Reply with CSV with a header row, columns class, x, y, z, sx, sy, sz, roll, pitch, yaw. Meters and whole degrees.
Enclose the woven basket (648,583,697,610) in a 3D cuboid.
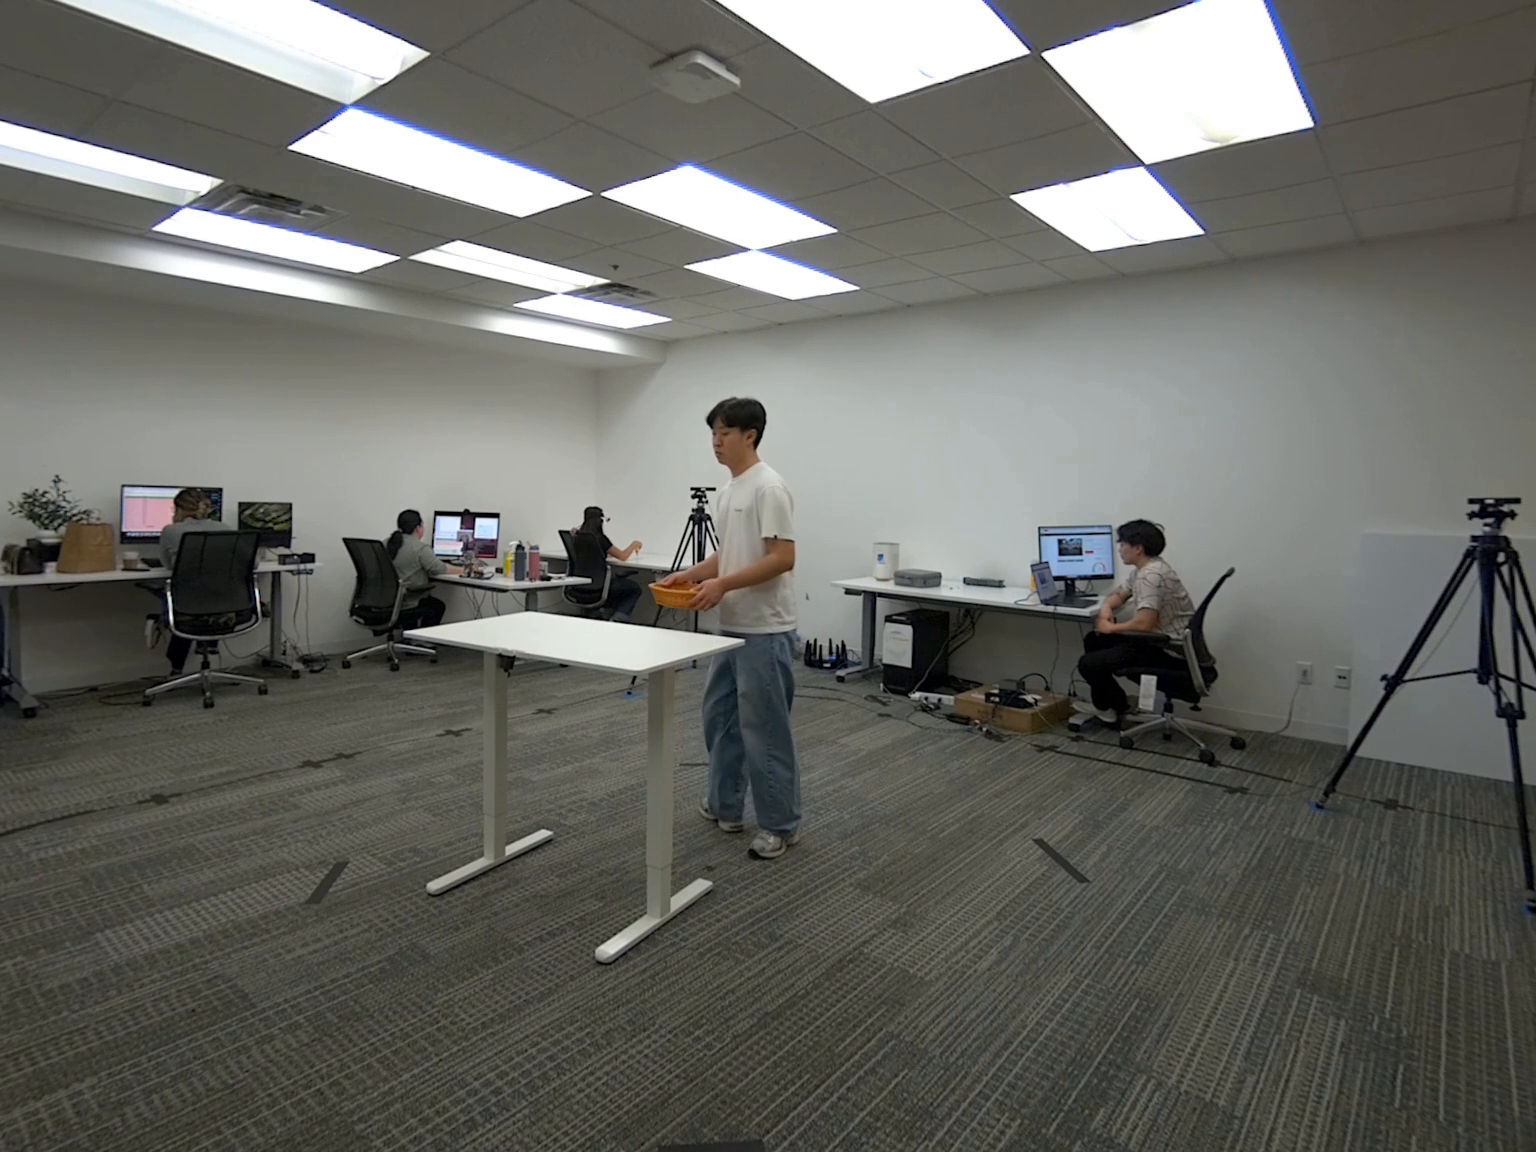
class,x,y,z,sx,sy,sz,roll,pitch,yaw
woven basket,-0.325,0.072,3.346,0.249,0.073,0.356,3,4,-12
